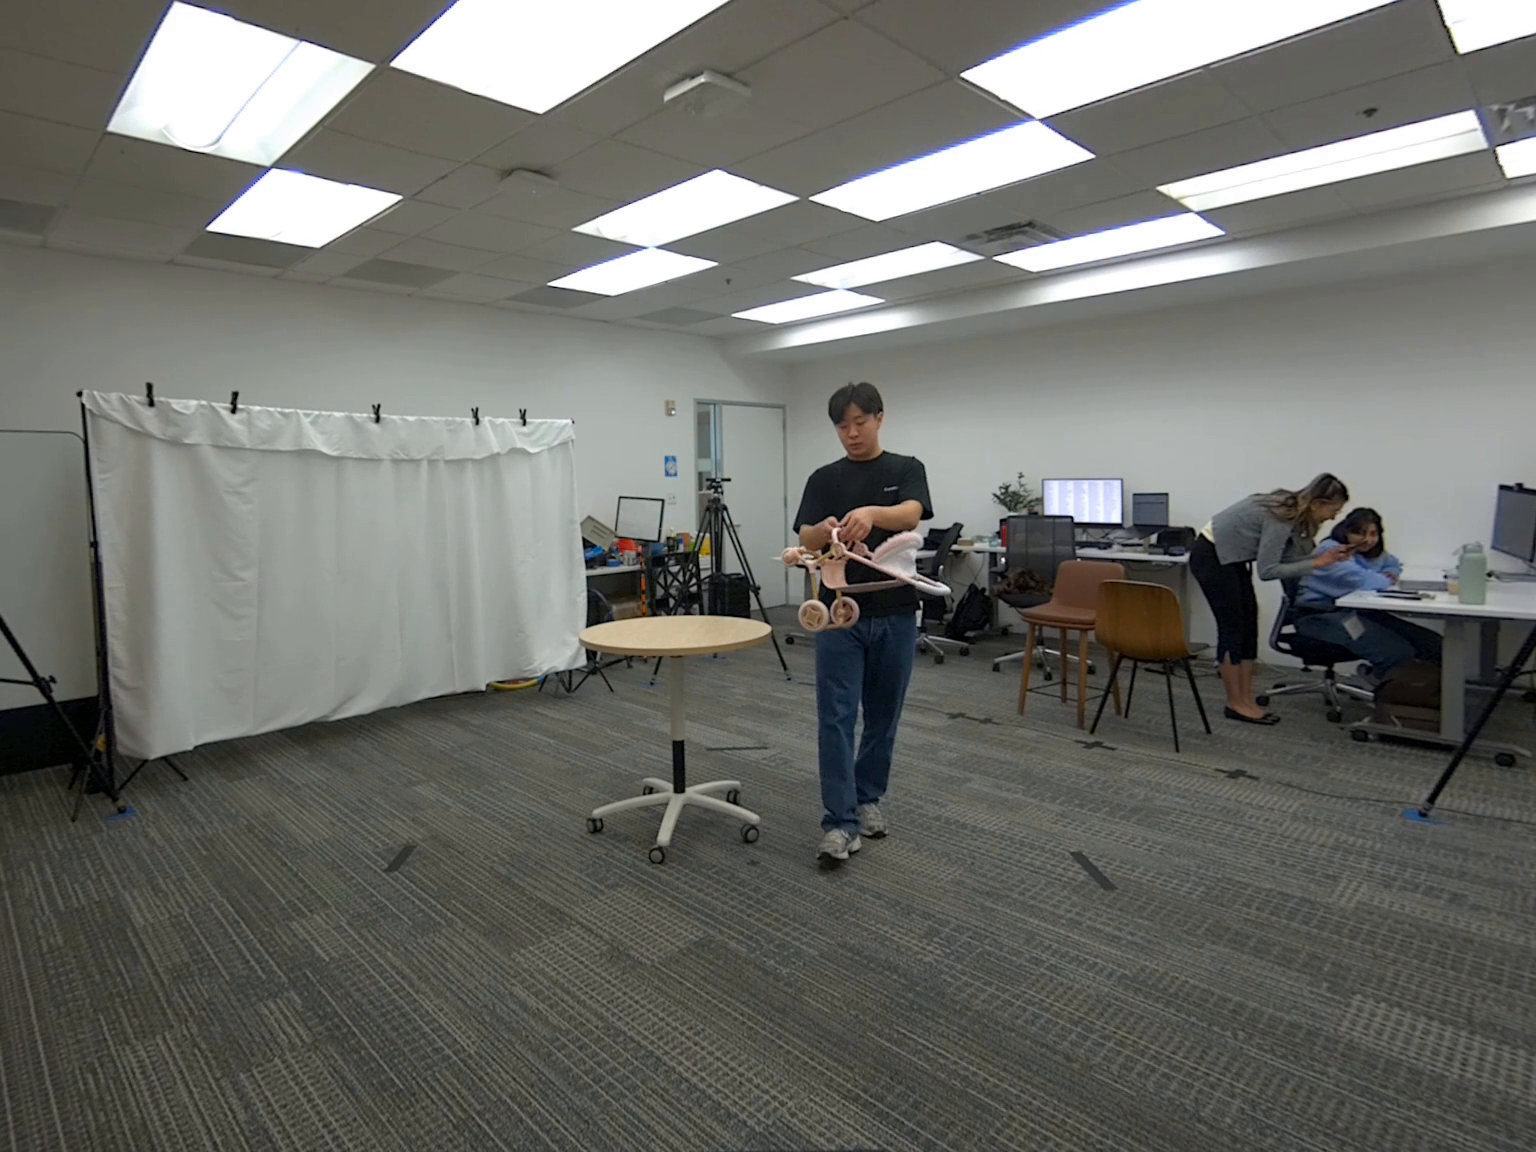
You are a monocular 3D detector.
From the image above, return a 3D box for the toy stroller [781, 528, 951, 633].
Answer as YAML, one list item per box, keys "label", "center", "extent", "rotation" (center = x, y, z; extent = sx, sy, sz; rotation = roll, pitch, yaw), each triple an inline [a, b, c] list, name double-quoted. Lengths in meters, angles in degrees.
- label: "toy stroller"
  center: [0.292, -0.014, 2.903]
  extent: [0.542, 0.347, 0.273]
  rotation: [-22, -17, 30]
